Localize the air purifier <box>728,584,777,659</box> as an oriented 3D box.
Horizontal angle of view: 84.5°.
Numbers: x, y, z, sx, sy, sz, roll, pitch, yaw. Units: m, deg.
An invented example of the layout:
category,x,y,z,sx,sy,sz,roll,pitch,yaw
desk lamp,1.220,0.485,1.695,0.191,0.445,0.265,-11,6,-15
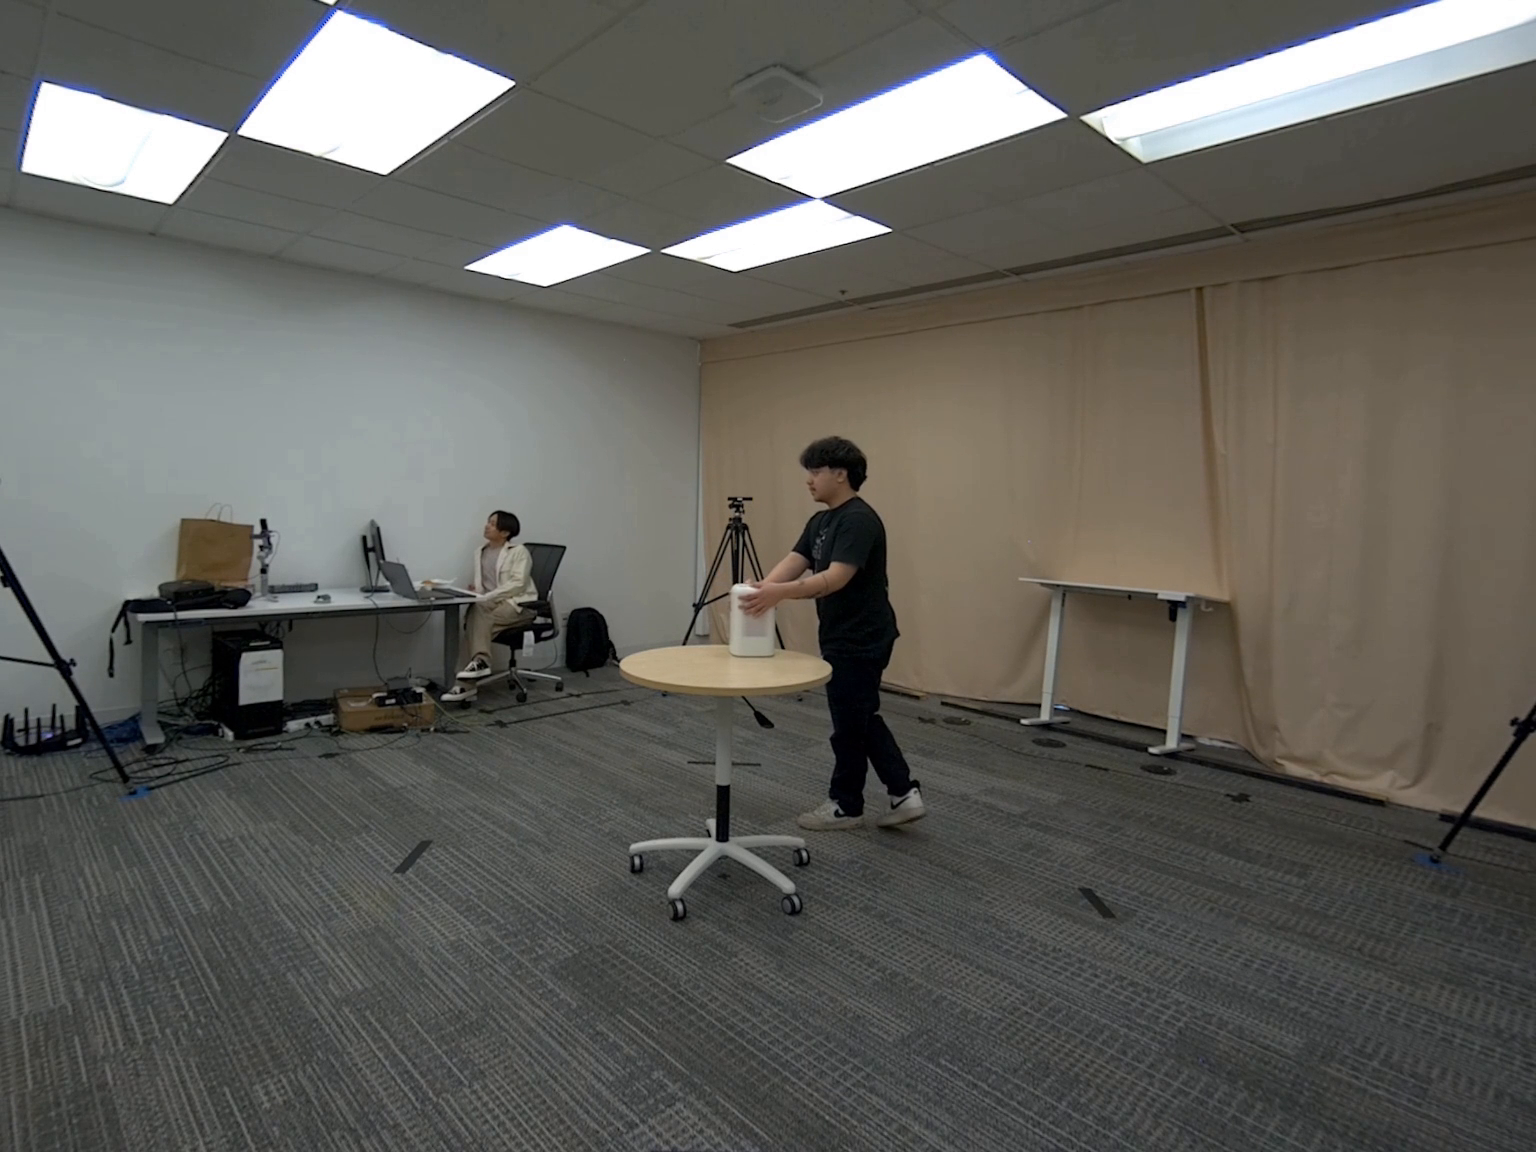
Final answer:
category,x,y,z,sx,sy,sz,roll,pitch,yaw
air purifier,-0.064,0.171,3.261,0.171,0.265,0.172,1,2,-5
